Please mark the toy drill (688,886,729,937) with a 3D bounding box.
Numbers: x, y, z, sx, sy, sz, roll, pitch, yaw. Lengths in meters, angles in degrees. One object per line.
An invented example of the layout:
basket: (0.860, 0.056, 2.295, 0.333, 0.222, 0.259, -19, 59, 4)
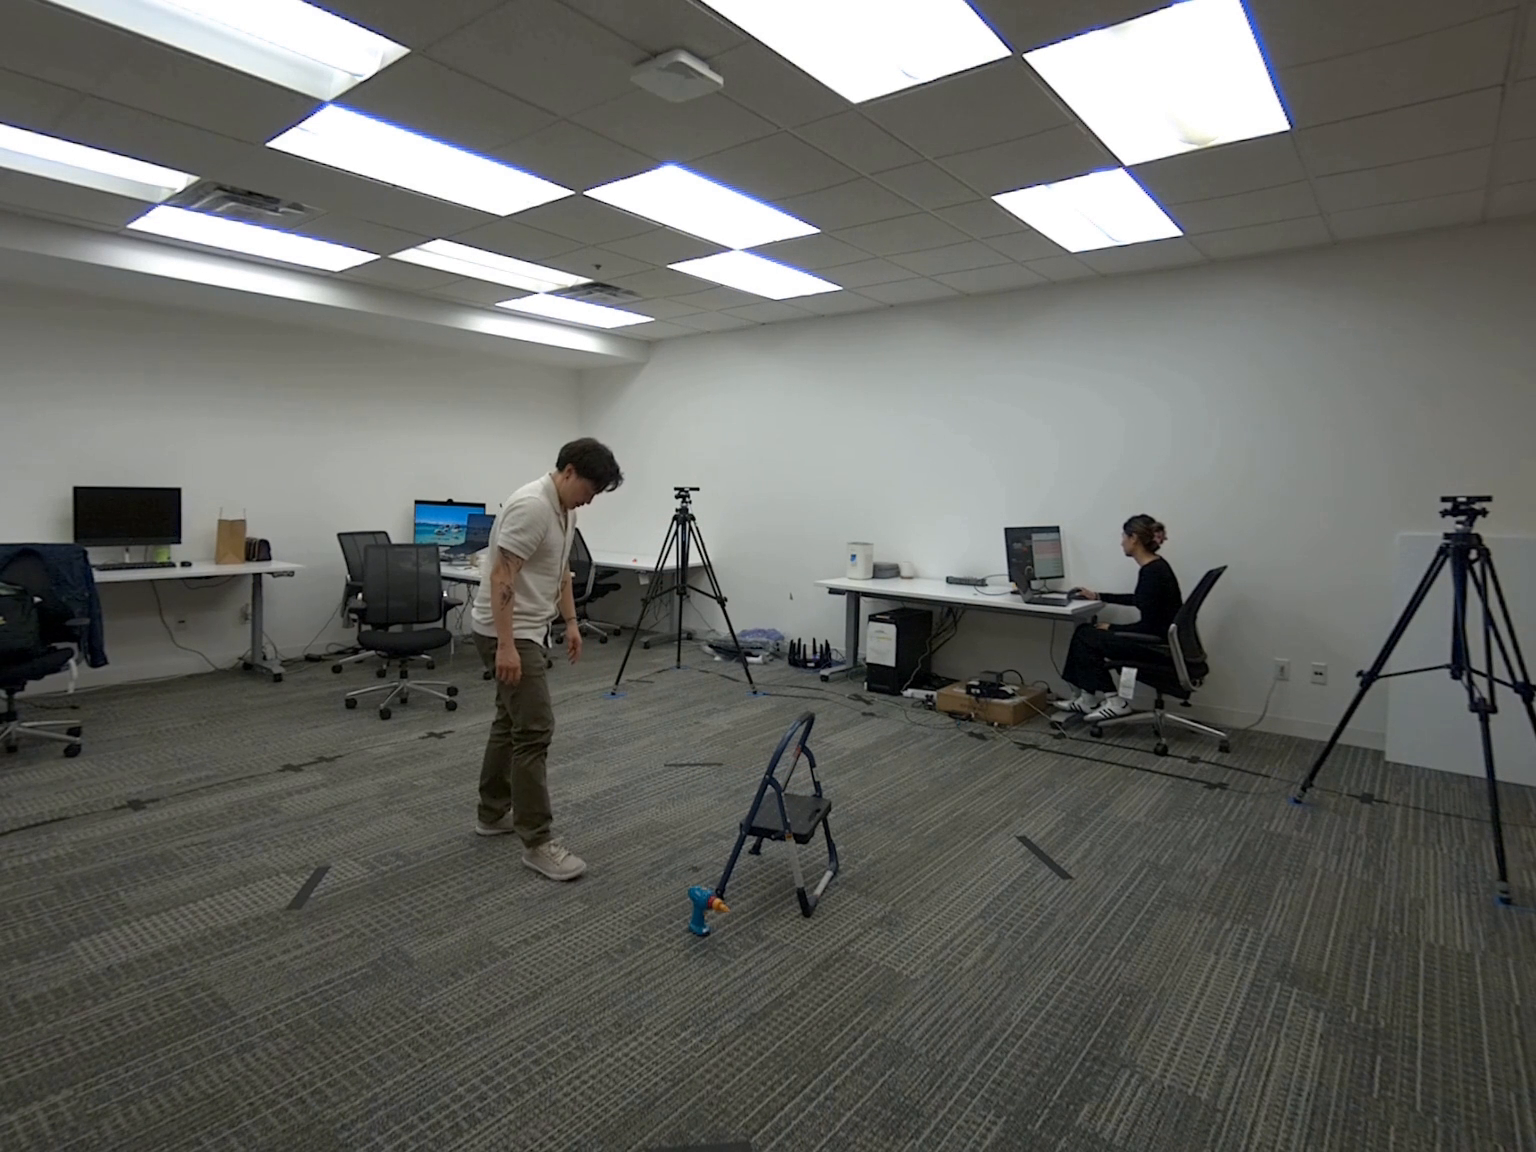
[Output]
toy drill: (-0.194, 1.040, 2.634, 0.176, 0.145, 0.059, 7, 5, 41)
